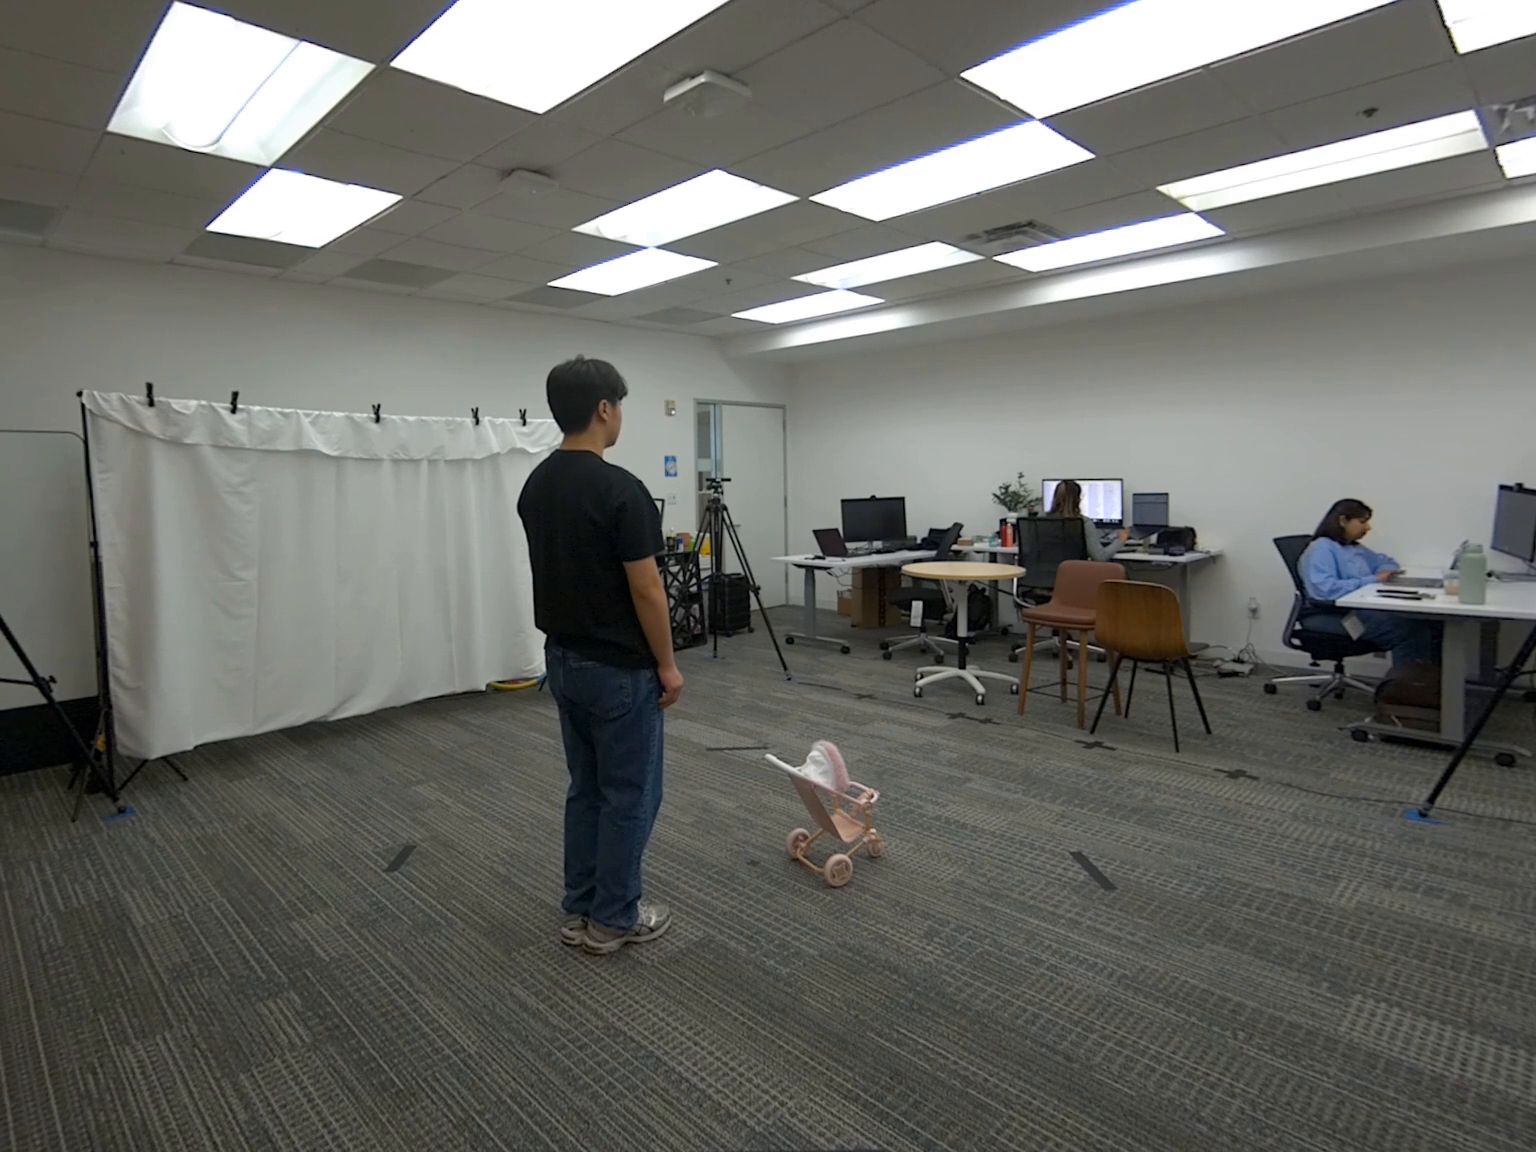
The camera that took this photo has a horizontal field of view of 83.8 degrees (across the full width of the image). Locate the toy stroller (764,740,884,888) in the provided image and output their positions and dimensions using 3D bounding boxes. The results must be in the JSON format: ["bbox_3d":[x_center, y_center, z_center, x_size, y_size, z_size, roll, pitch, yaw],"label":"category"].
[{"bbox_3d":[0.233,0.822,3.042,0.337,0.529,0.288,-20,11,-21],"label":"toy stroller"}]
